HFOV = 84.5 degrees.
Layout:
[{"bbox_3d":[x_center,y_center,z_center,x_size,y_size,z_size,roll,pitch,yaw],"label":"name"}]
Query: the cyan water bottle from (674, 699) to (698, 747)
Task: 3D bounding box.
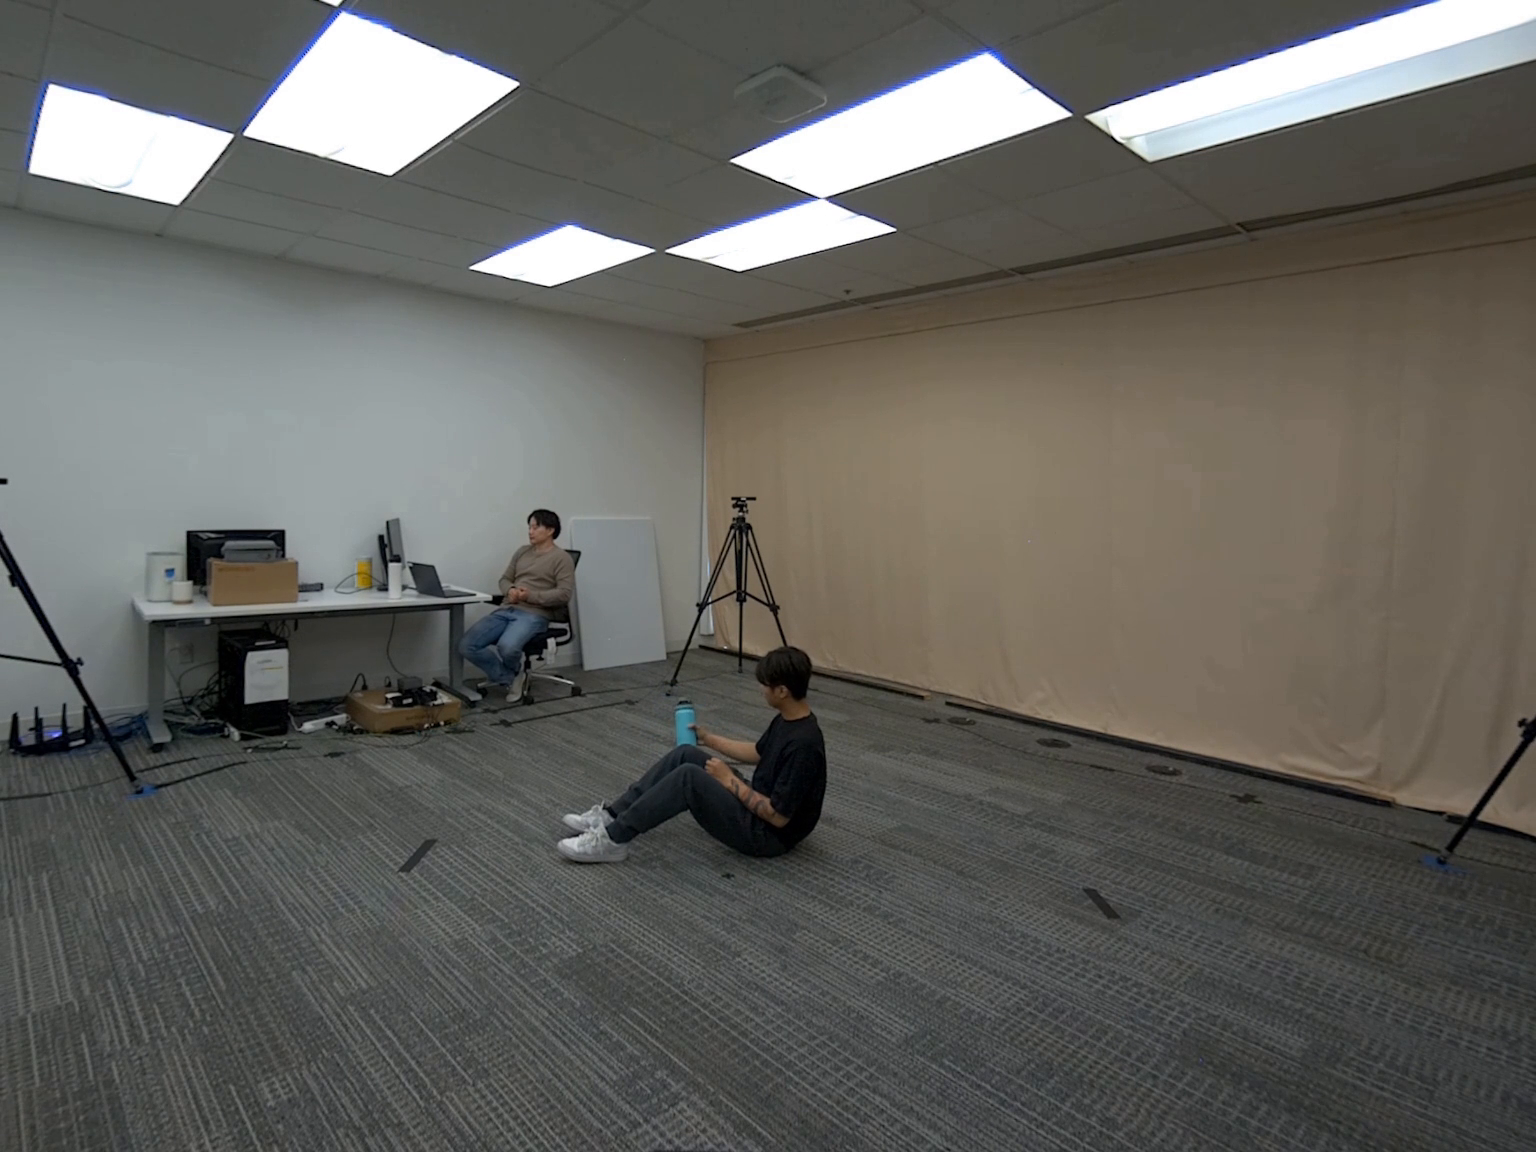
[{"bbox_3d":[-0.375,0.684,3.747,0.092,0.287,0.091,-4,-19,-3],"label":"cyan water bottle"}]
